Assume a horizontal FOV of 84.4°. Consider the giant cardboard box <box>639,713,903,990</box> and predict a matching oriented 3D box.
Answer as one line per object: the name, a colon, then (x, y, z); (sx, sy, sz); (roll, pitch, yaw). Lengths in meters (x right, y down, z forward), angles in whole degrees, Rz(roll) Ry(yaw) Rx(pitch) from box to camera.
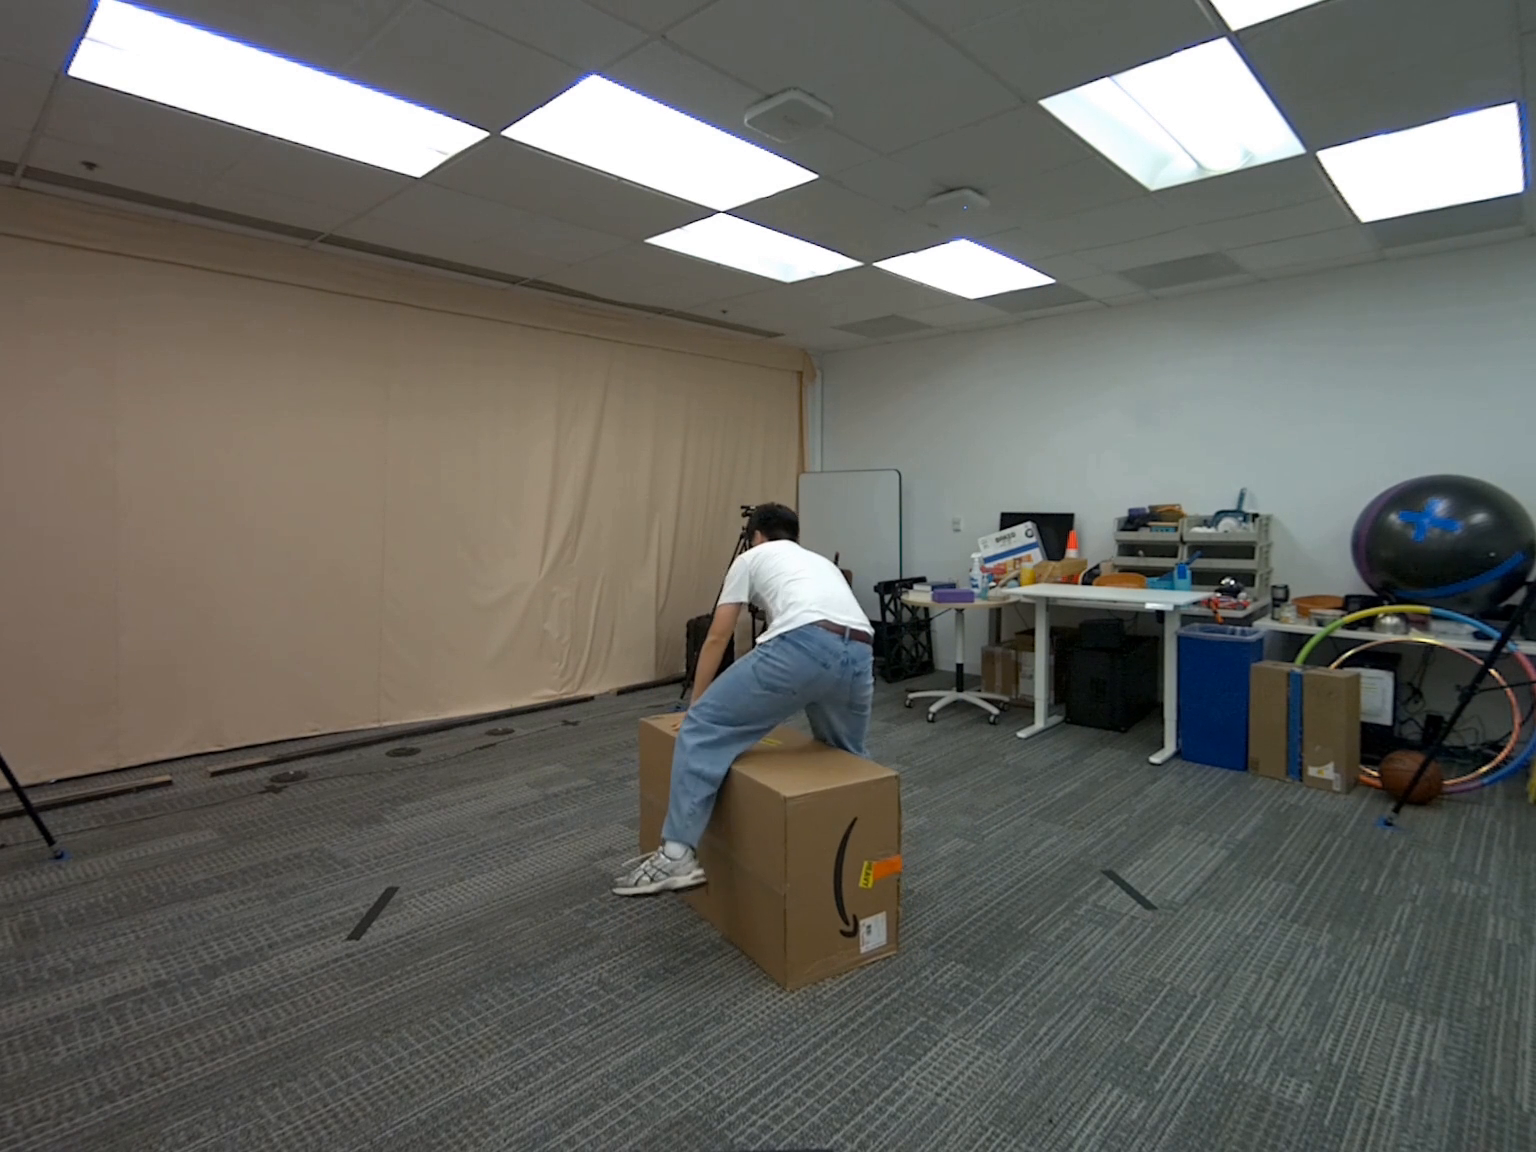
giant cardboard box: (-0.048, 0.861, 2.939); (0.415, 0.576, 1.056); (-3, 5, -31)
